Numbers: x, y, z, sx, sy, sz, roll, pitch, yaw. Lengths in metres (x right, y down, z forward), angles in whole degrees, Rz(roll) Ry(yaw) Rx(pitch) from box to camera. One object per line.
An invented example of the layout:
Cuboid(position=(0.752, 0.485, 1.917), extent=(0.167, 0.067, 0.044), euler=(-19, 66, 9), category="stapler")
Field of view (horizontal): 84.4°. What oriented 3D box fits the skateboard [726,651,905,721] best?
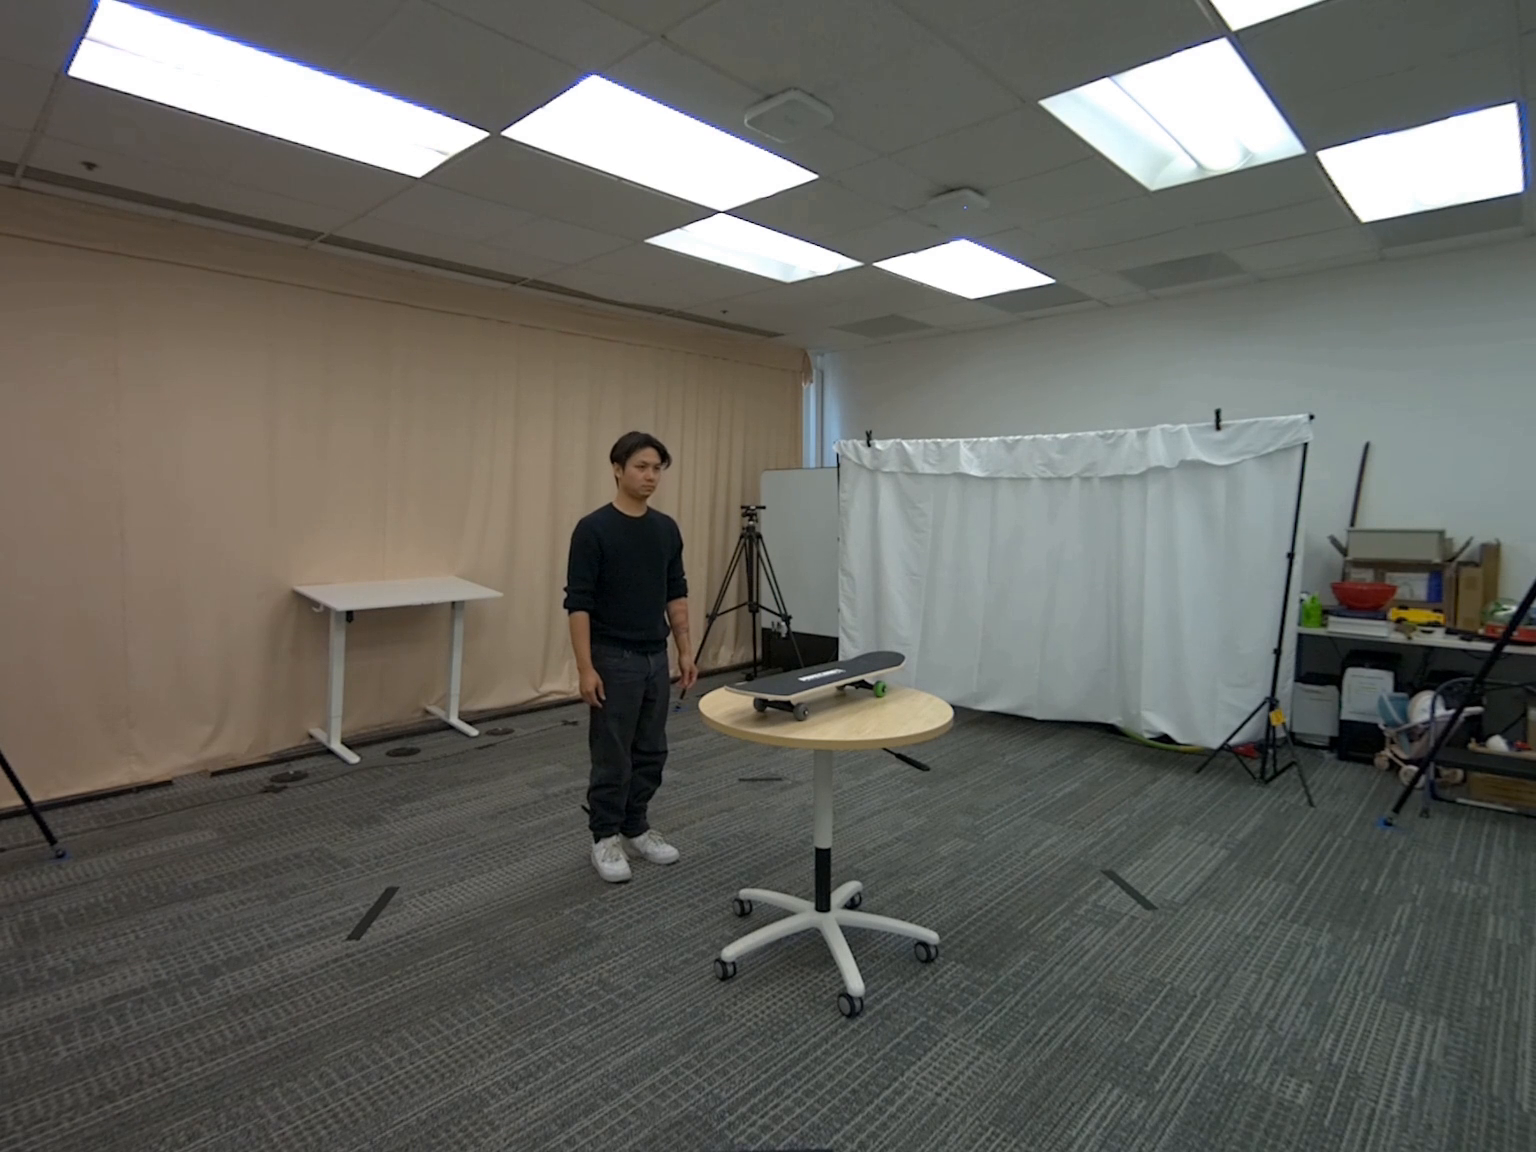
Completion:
Cuboid(position=(0.154, 0.344, 2.576), extent=(0.200, 0.110, 0.762), euler=(4, 7, 42), category="skateboard")
